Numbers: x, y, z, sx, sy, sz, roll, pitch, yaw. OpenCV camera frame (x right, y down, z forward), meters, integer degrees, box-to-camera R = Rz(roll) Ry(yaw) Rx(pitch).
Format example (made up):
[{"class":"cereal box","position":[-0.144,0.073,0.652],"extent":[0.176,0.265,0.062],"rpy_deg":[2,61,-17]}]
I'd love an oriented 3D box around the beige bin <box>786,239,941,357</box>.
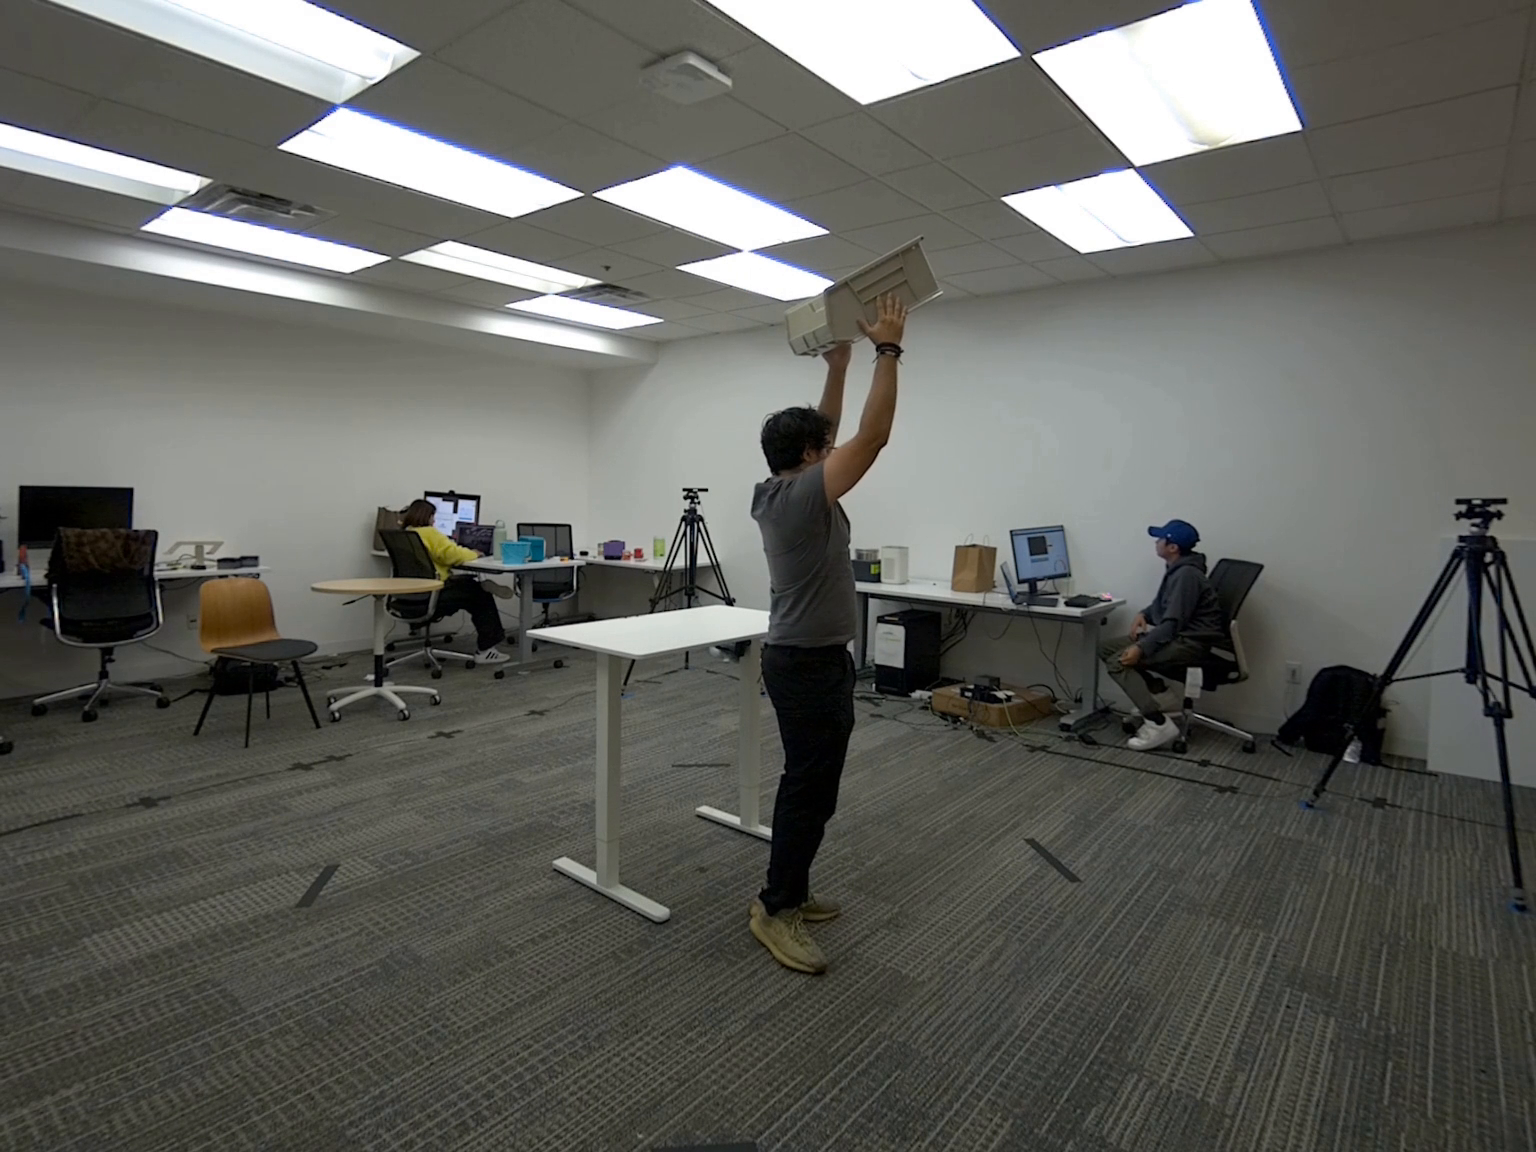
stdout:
[{"class":"beige bin","position":[0.271,-0.849,2.666],"extent":[0.376,0.186,0.430],"rpy_deg":[-30,13,-8]}]
